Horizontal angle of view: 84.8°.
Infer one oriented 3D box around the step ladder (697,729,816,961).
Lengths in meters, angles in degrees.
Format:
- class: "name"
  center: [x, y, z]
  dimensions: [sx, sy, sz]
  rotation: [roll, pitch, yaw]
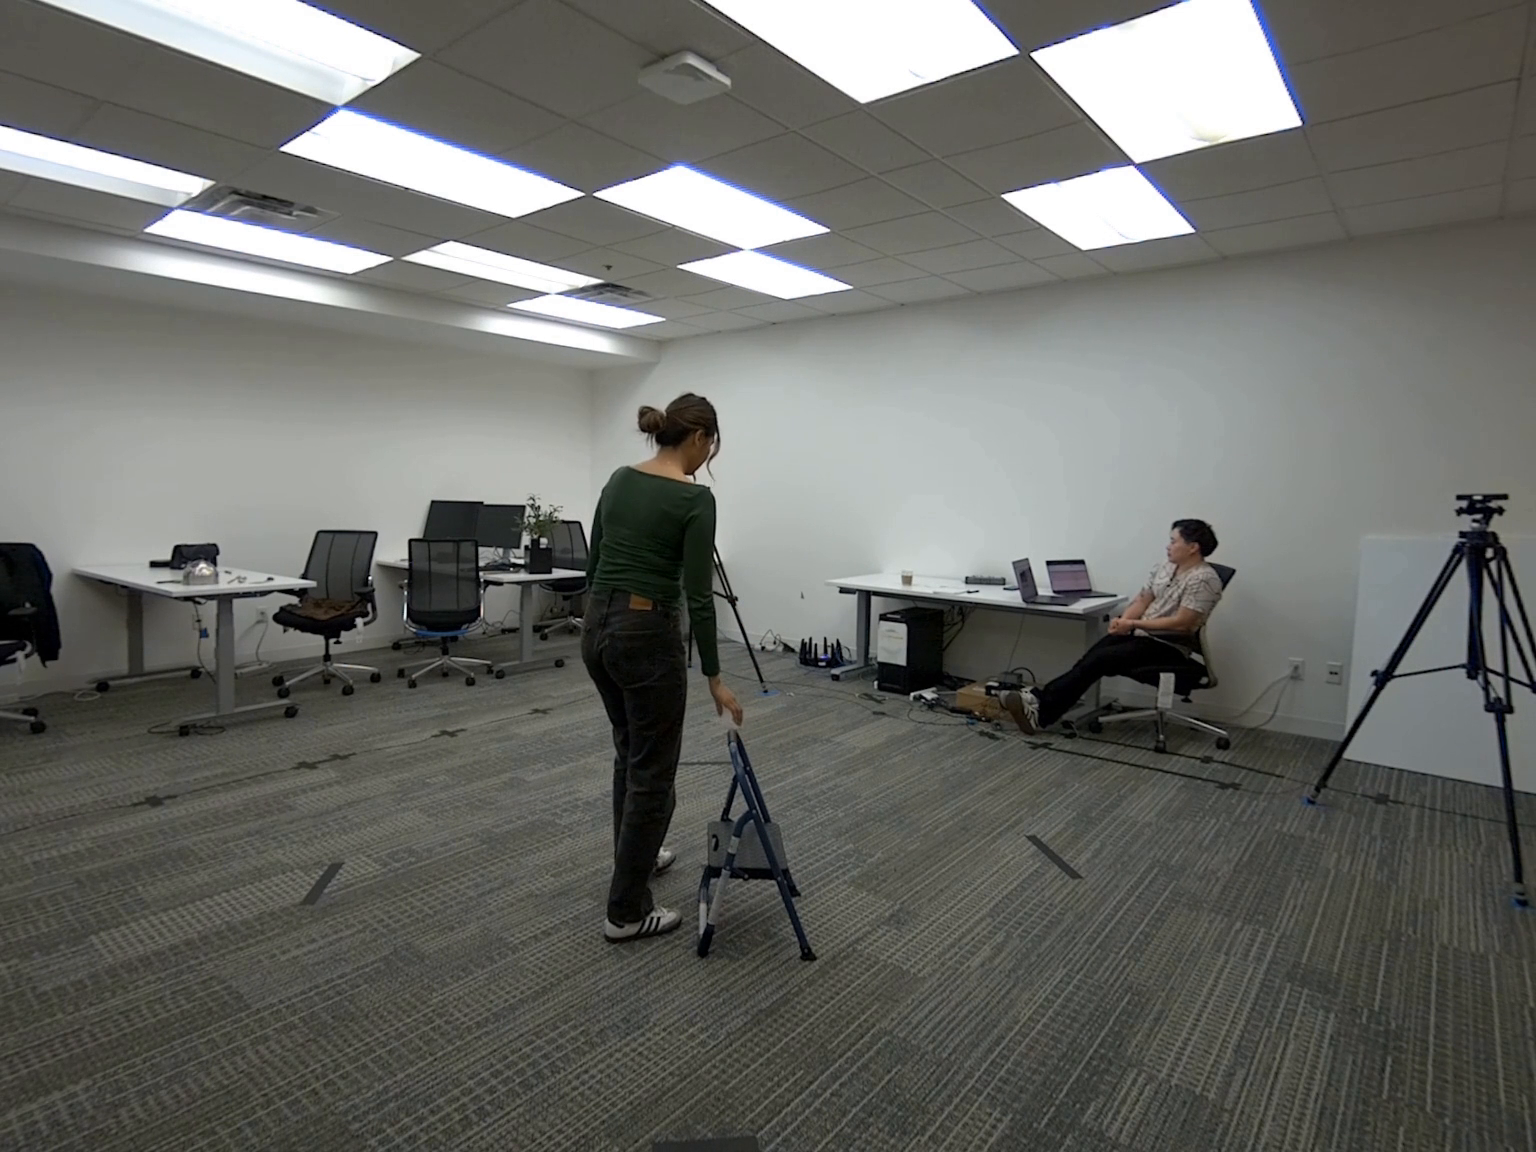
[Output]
- class: "step ladder"
  center: [-0.050, 0.807, 2.698]
  dimensions: [0.348, 0.604, 0.433]
  rotation: [2, 3, -3]
